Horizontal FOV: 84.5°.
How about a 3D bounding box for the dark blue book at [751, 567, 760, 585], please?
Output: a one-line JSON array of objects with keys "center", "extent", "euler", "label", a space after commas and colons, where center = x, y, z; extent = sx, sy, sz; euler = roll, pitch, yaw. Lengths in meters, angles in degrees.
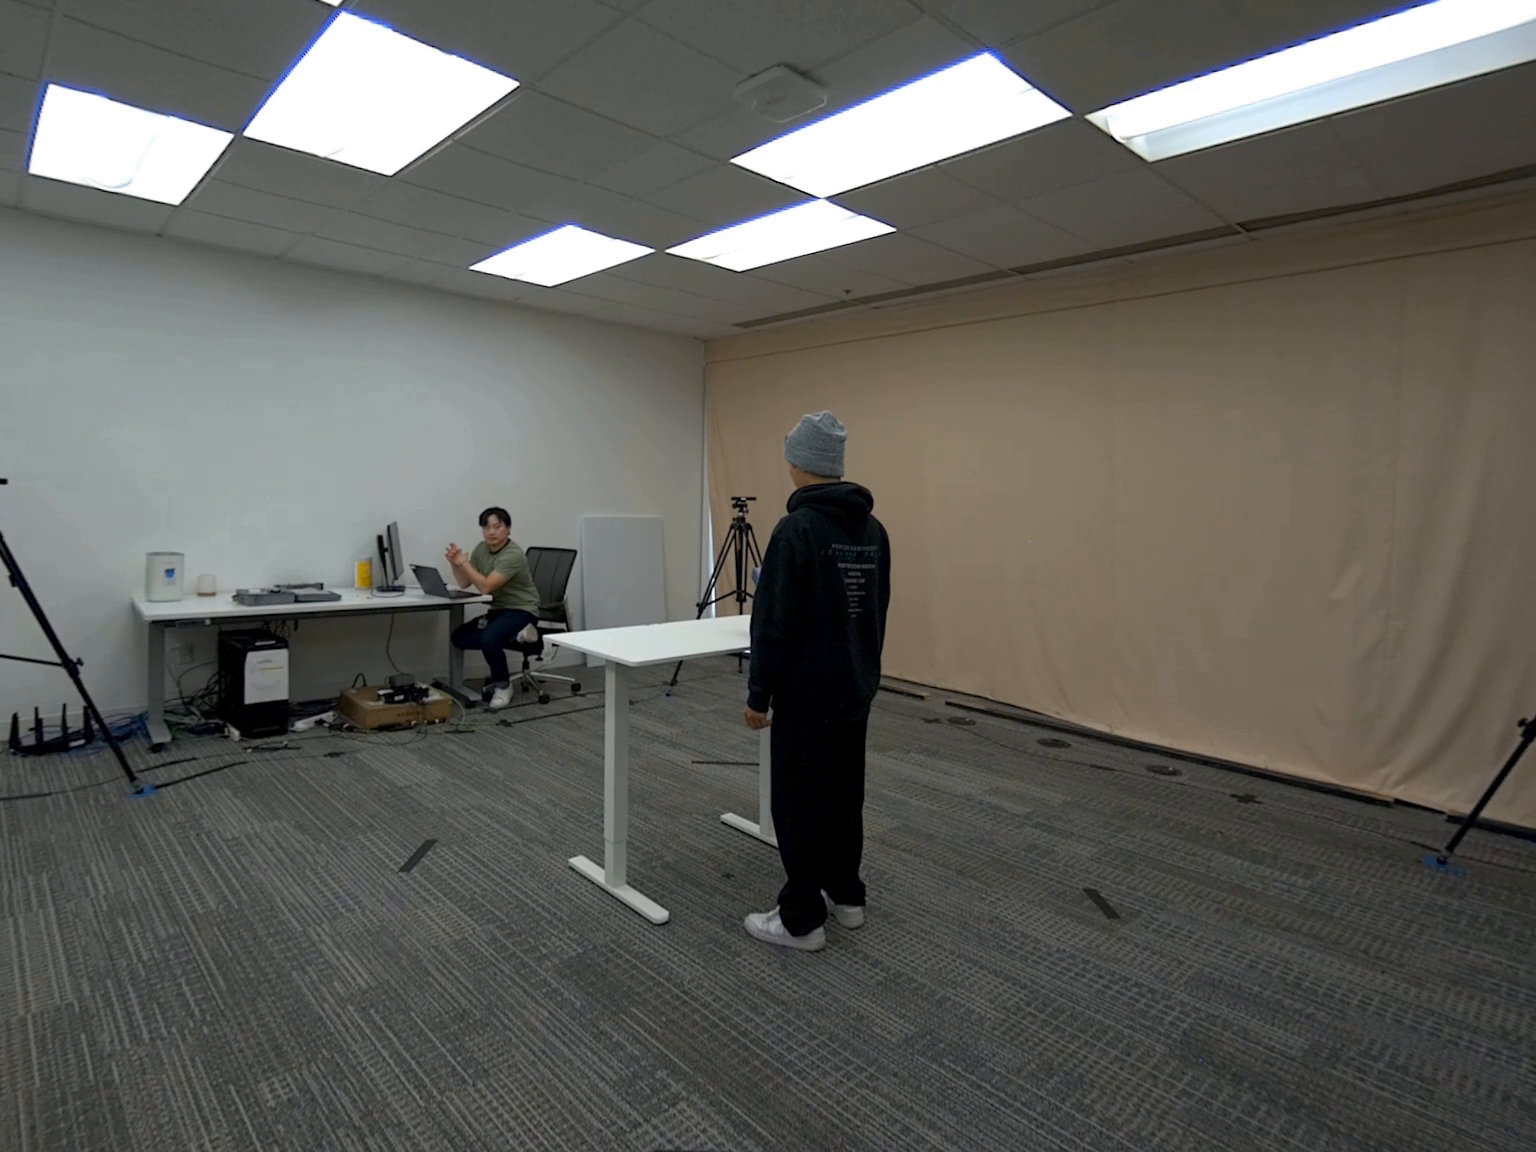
[{"center": [0.067, 0.053, 3.116], "extent": [0.161, 0.044, 0.252], "euler": [0, 29, -18], "label": "dark blue book"}]
